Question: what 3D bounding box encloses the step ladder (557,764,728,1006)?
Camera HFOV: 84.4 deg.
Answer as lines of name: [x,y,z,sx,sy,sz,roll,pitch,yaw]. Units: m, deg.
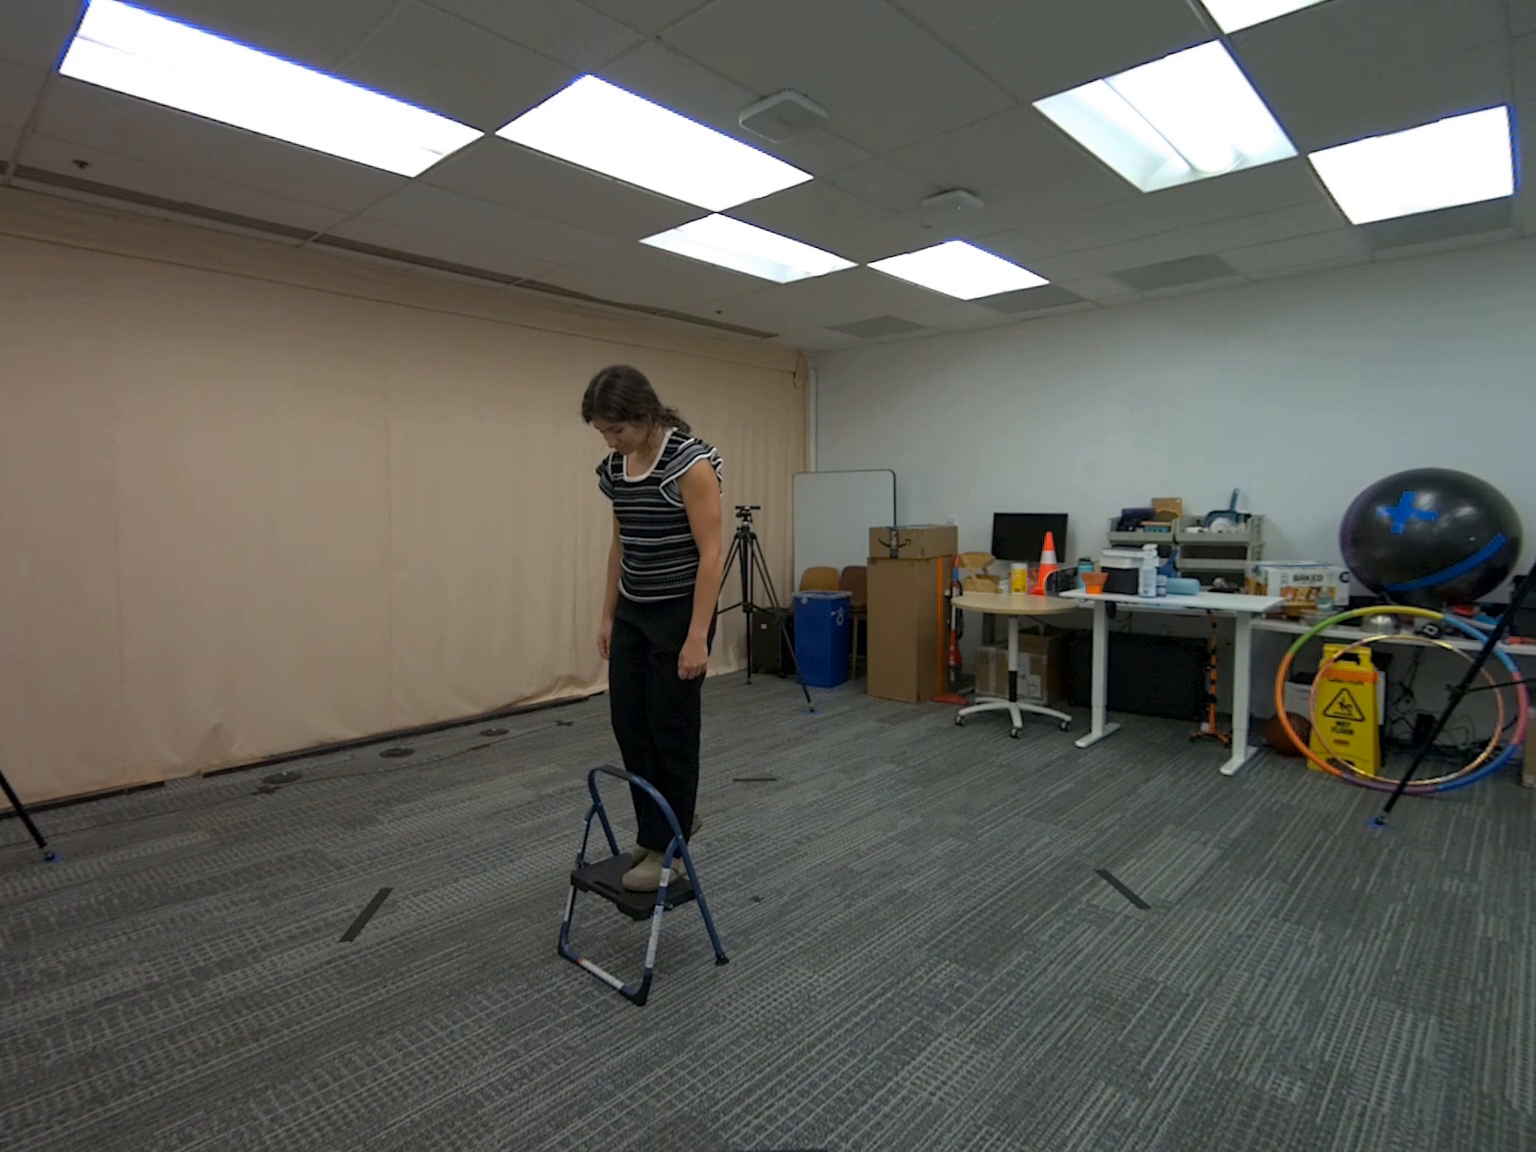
step ladder: [-0.394,0.879,2.585,0.445,0.605,0.338,3,5,42]
